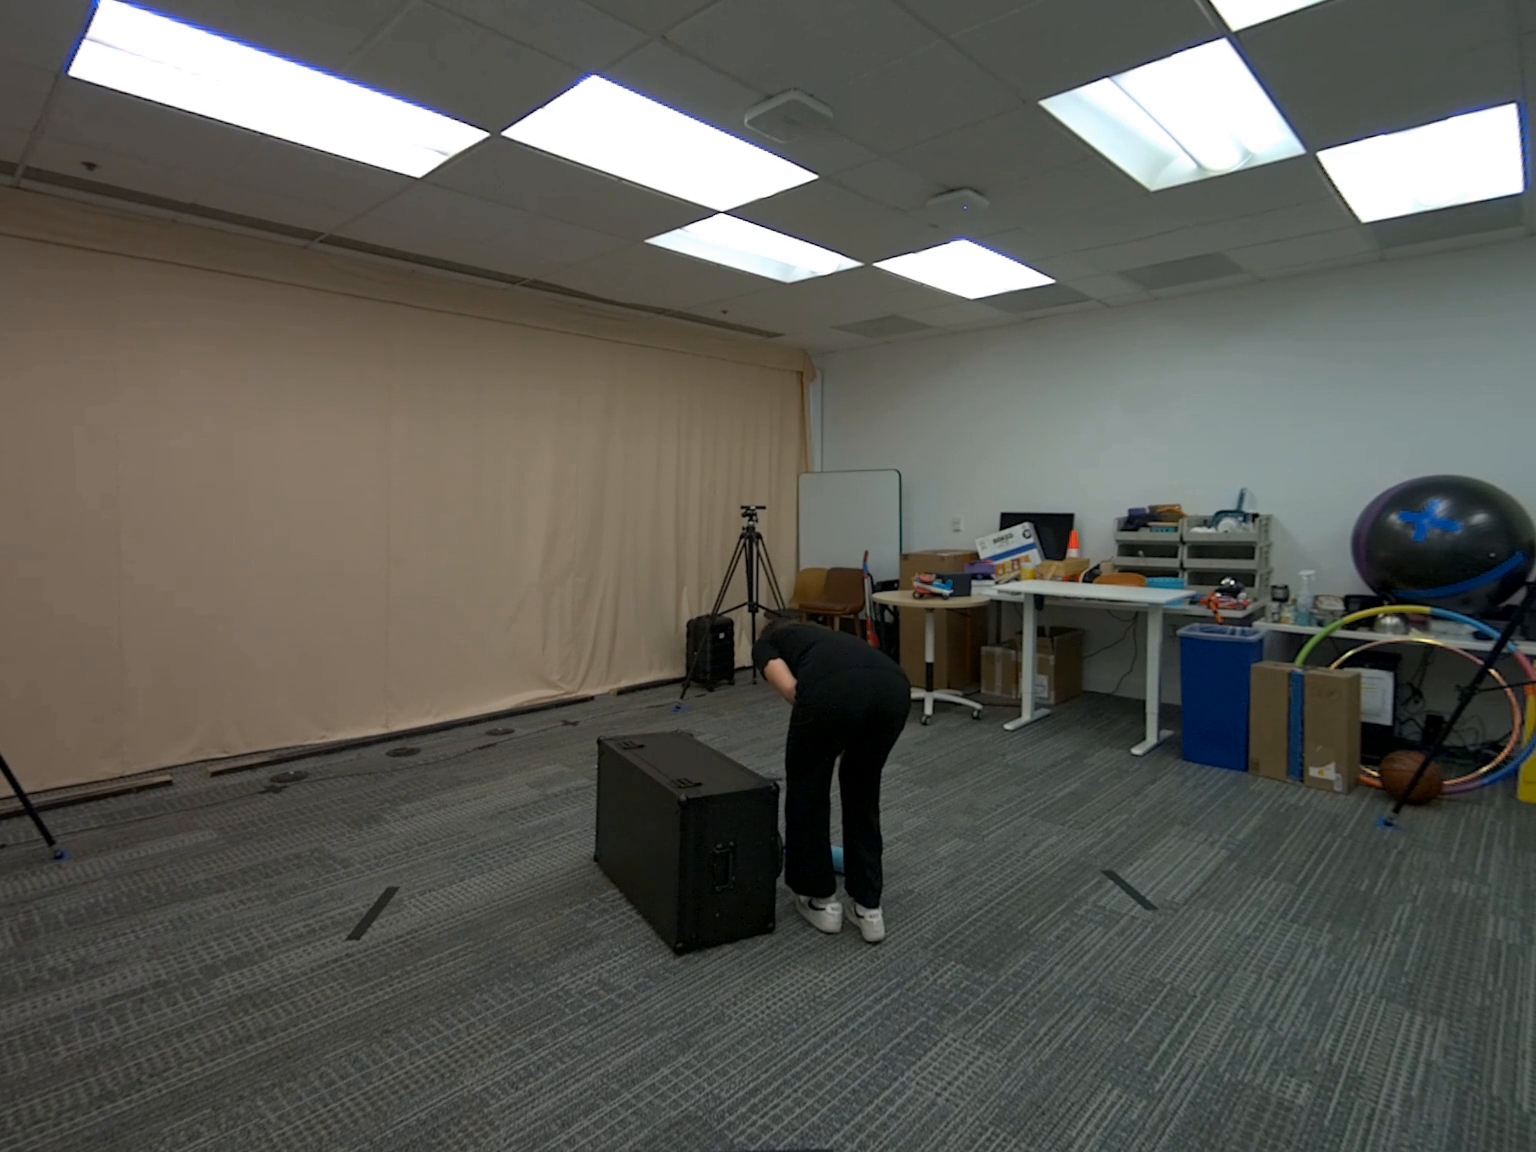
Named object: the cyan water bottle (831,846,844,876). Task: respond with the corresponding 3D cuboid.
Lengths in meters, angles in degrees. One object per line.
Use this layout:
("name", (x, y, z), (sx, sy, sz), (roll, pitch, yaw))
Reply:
("cyan water bottle", (0.200, 1.072, 3.233), (0.291, 0.092, 0.090), (2, 4, 28))
